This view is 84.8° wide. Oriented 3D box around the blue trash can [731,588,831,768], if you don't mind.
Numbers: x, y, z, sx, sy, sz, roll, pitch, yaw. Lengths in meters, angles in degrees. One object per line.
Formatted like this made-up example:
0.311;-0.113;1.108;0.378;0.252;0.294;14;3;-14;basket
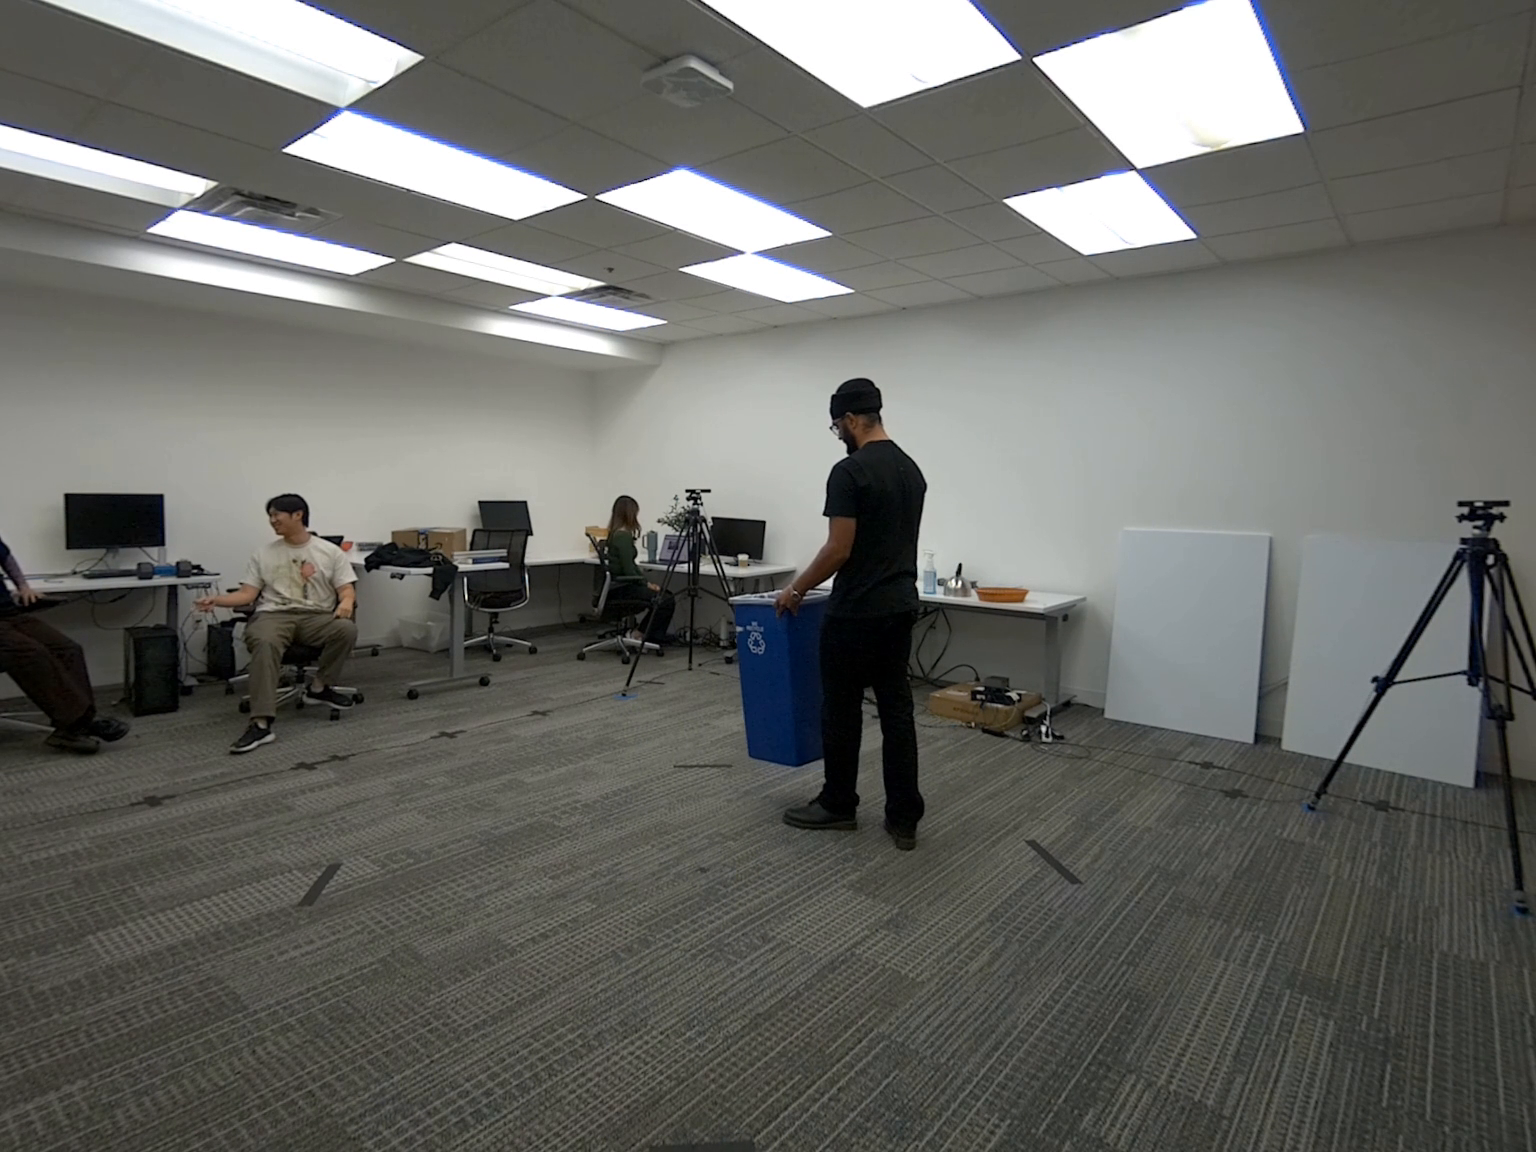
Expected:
0.087;0.437;3.785;0.367;0.713;0.385;-5;1;-44;blue trash can
